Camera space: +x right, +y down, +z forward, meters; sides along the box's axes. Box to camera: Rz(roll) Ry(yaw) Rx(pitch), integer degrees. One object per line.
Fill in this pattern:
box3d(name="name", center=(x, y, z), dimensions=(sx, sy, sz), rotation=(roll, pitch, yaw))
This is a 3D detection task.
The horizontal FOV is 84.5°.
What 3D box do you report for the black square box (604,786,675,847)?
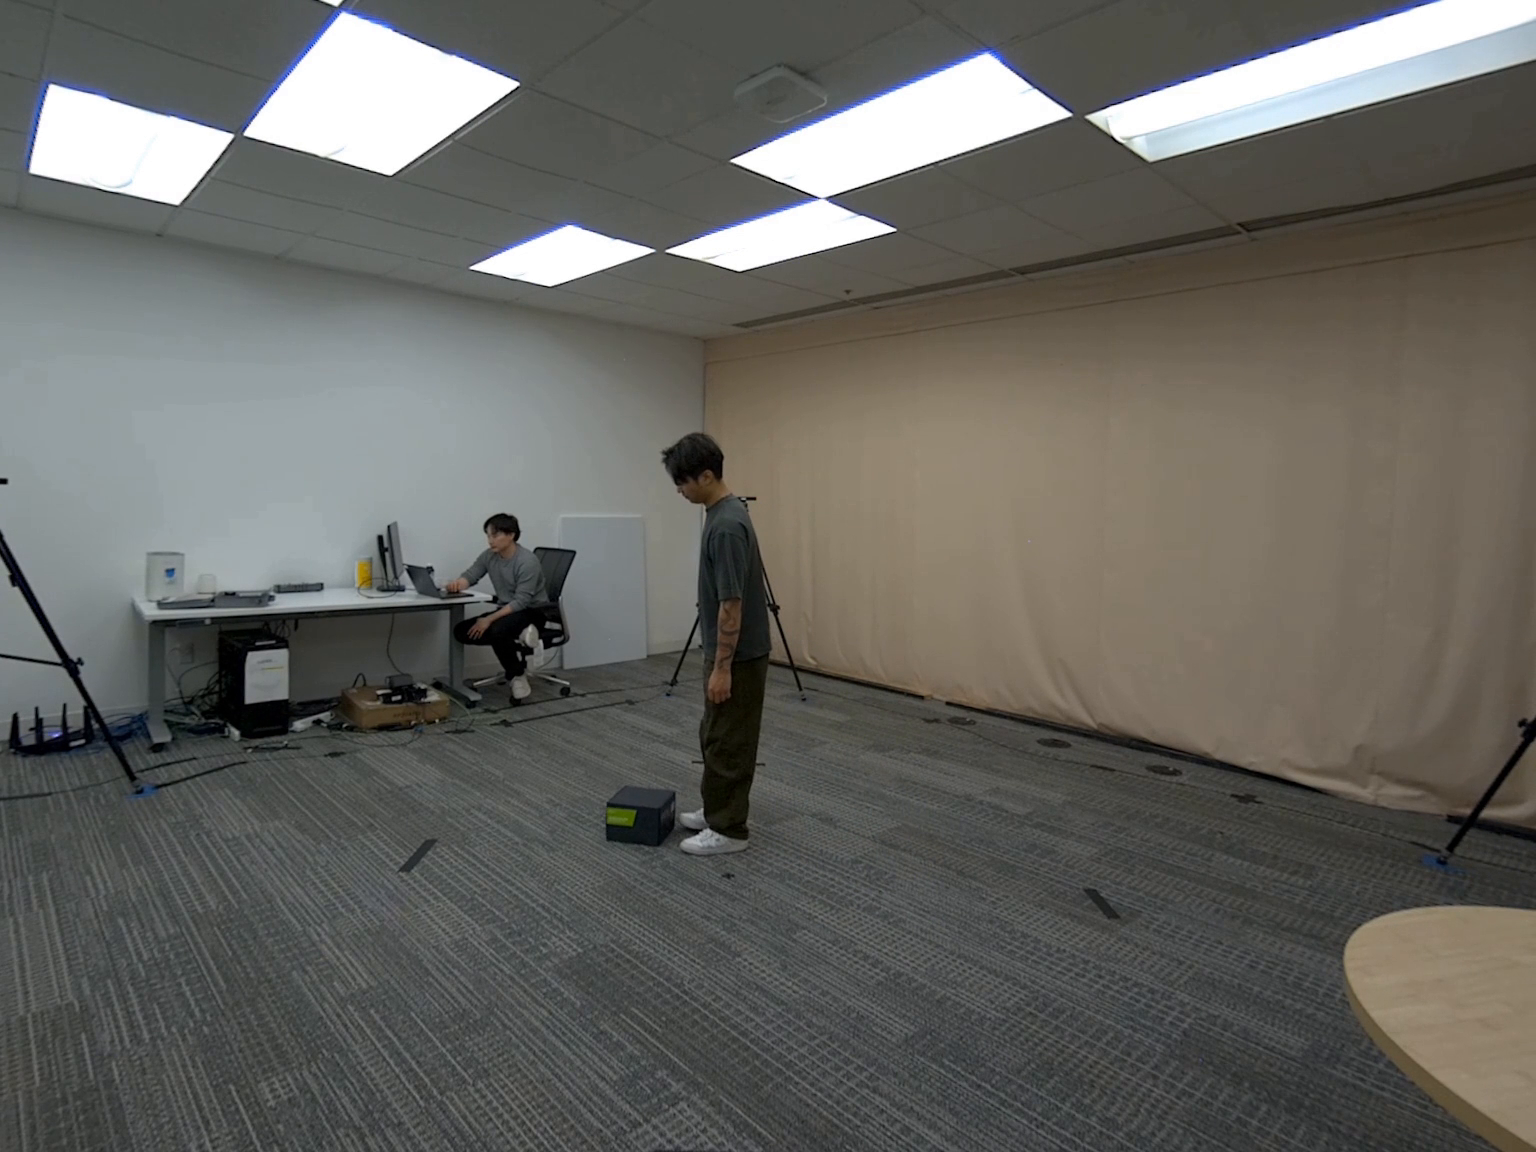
box3d(name="black square box", center=(-0.522, 0.973, 3.469), dimensions=(0.230, 0.155, 0.215), rotation=(2, 5, 12))
